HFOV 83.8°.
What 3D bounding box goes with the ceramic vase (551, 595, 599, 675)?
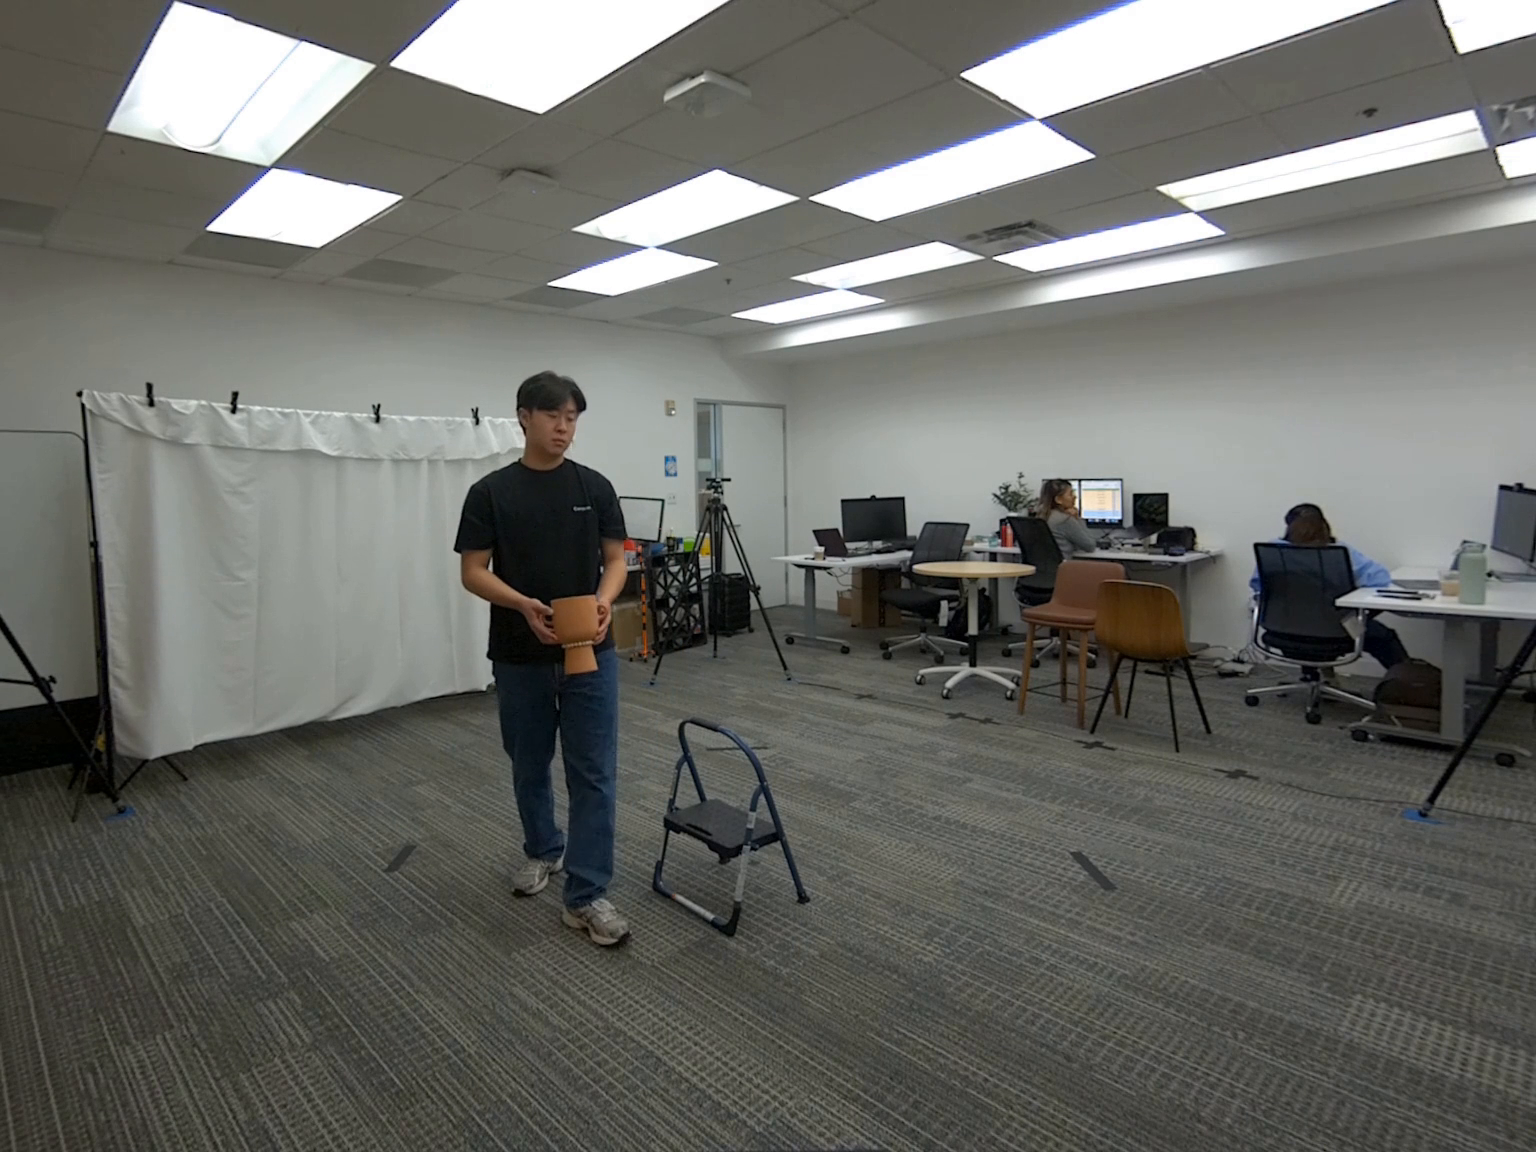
[{"bbox_3d":[-0.575,0.175,2.529,0.162,0.221,0.131,-10,-4,31],"label":"ceramic vase"}]
